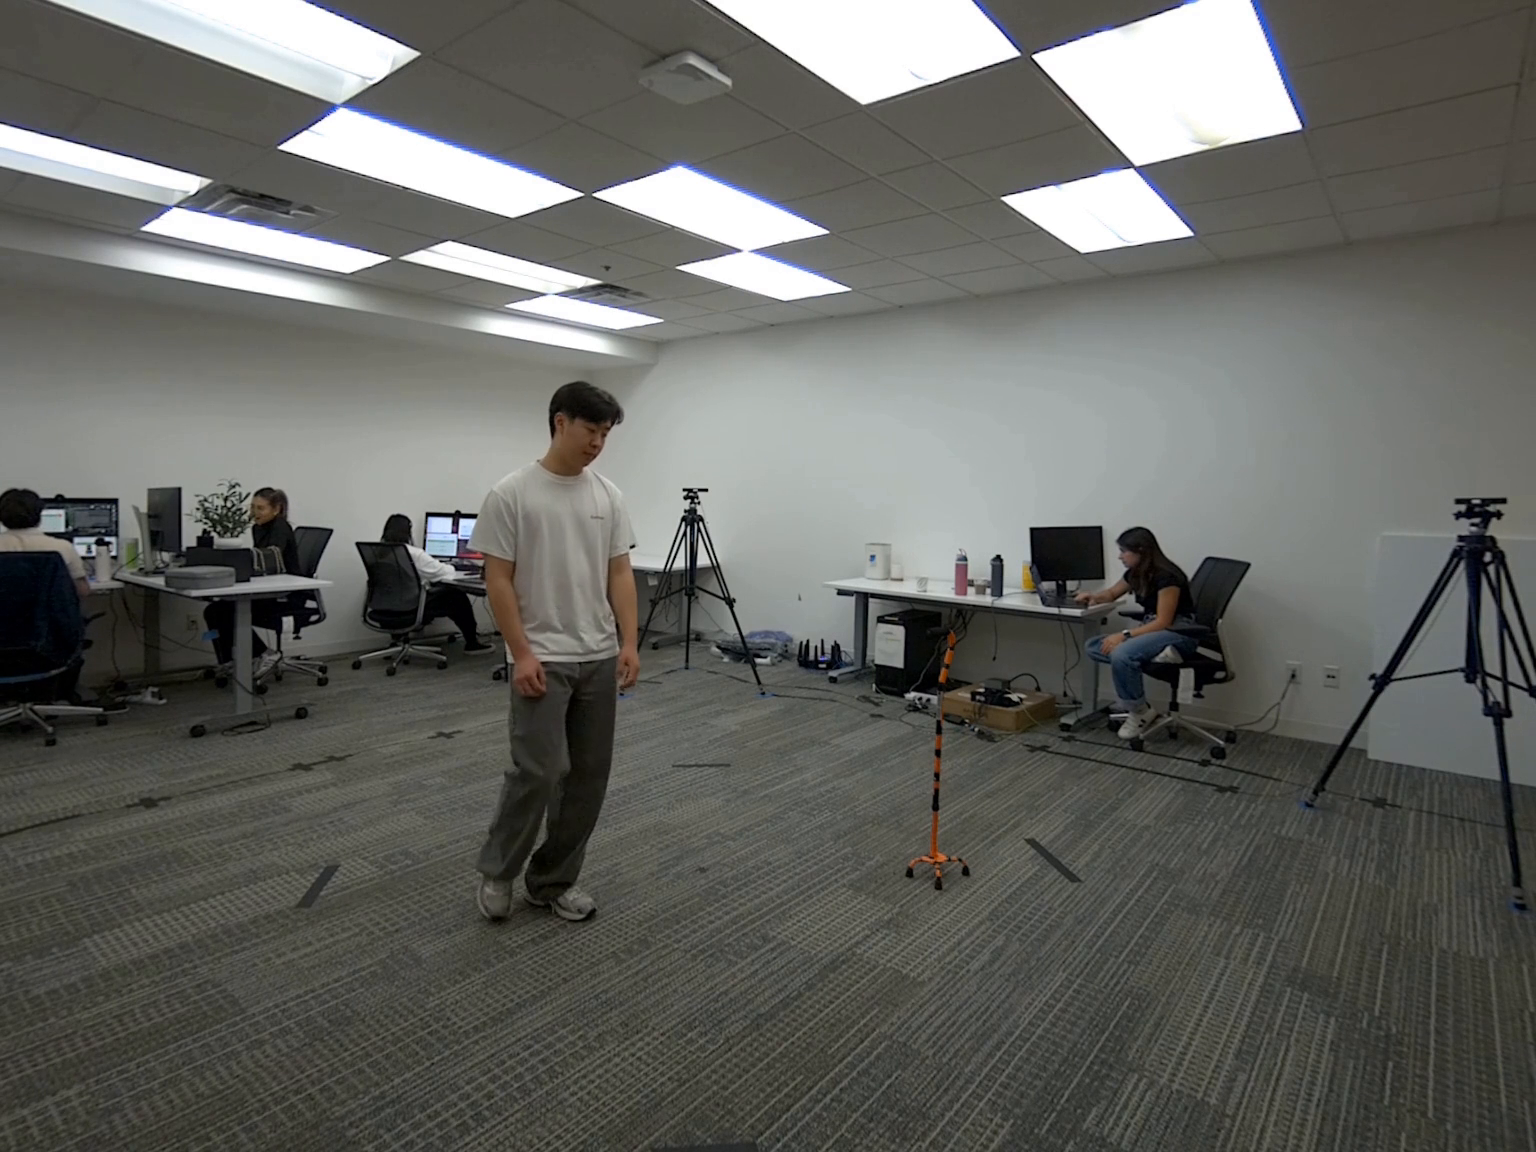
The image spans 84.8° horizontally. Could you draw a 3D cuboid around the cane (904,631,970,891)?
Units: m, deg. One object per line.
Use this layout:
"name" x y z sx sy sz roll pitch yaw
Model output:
"cane" 0.635 0.632 3.080 0.200 0.905 0.157 -2 4 -42
